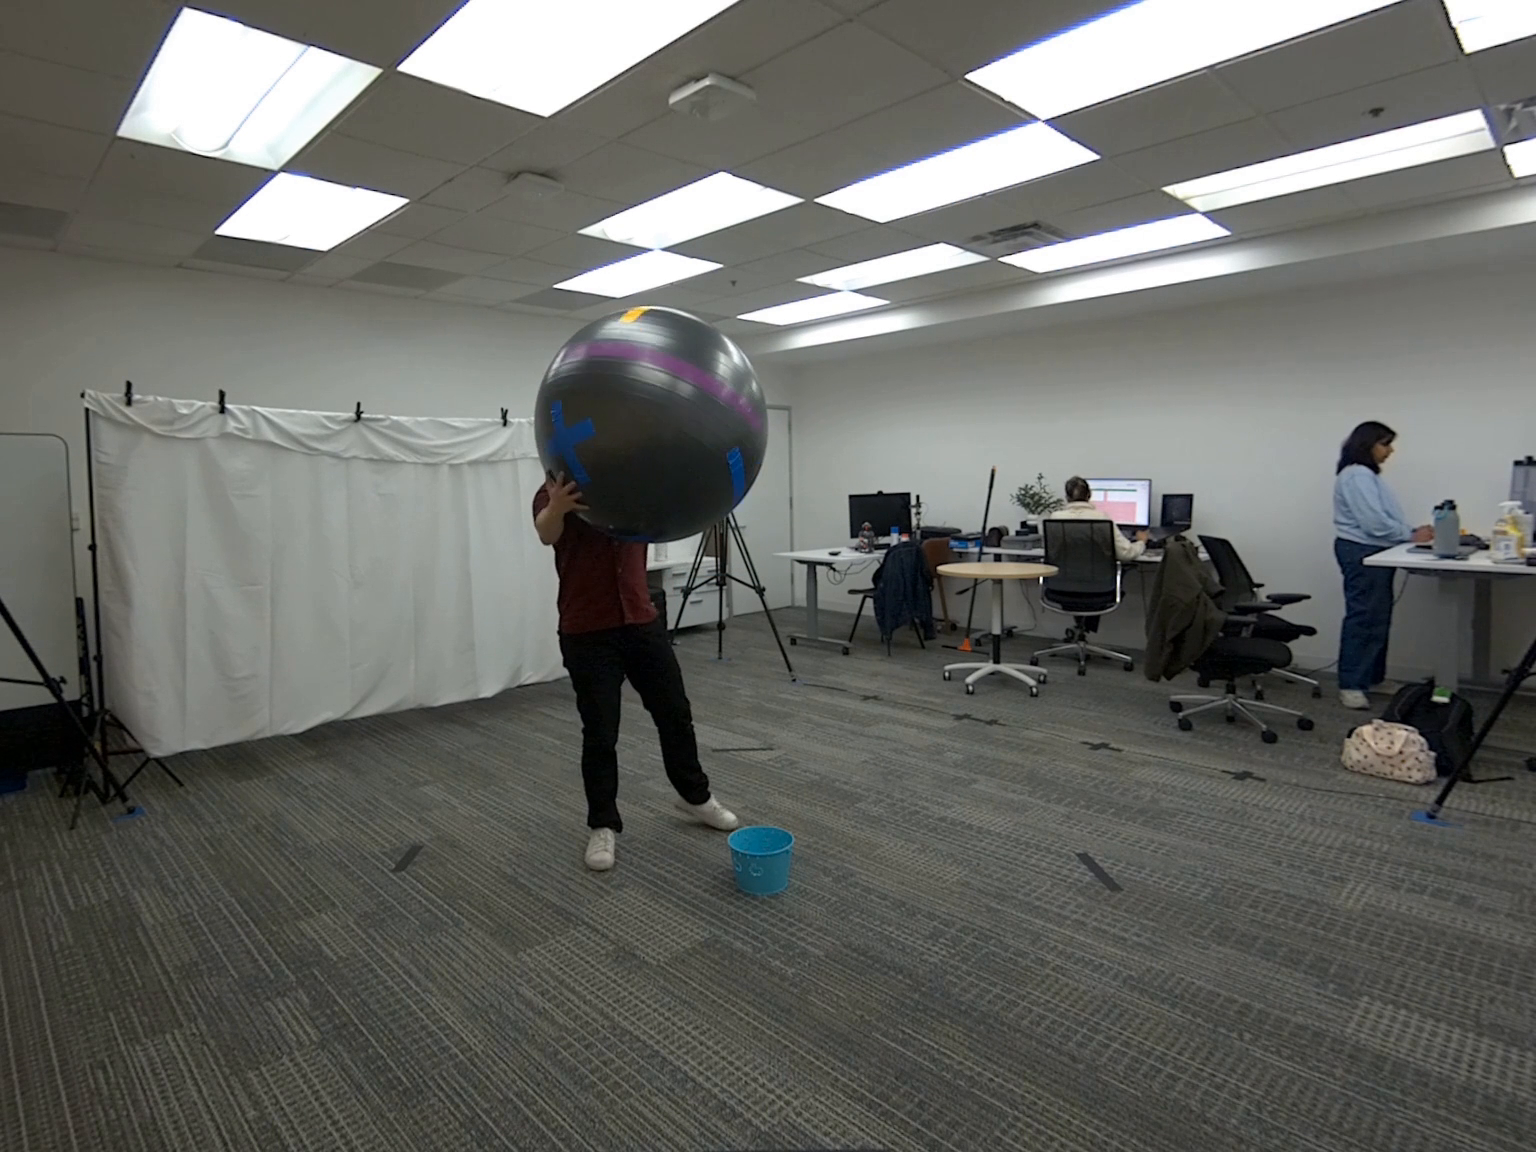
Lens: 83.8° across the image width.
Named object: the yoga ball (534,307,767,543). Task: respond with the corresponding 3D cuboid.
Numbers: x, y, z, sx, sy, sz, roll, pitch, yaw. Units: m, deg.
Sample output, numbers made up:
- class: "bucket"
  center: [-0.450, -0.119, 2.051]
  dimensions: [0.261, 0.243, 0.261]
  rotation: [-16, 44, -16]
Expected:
- class: "yoga ball"
  center: [-0.379, -0.484, 2.790]
  dimensions: [0.757, 0.755, 0.762]
  rotation: [-1, 5, -2]
